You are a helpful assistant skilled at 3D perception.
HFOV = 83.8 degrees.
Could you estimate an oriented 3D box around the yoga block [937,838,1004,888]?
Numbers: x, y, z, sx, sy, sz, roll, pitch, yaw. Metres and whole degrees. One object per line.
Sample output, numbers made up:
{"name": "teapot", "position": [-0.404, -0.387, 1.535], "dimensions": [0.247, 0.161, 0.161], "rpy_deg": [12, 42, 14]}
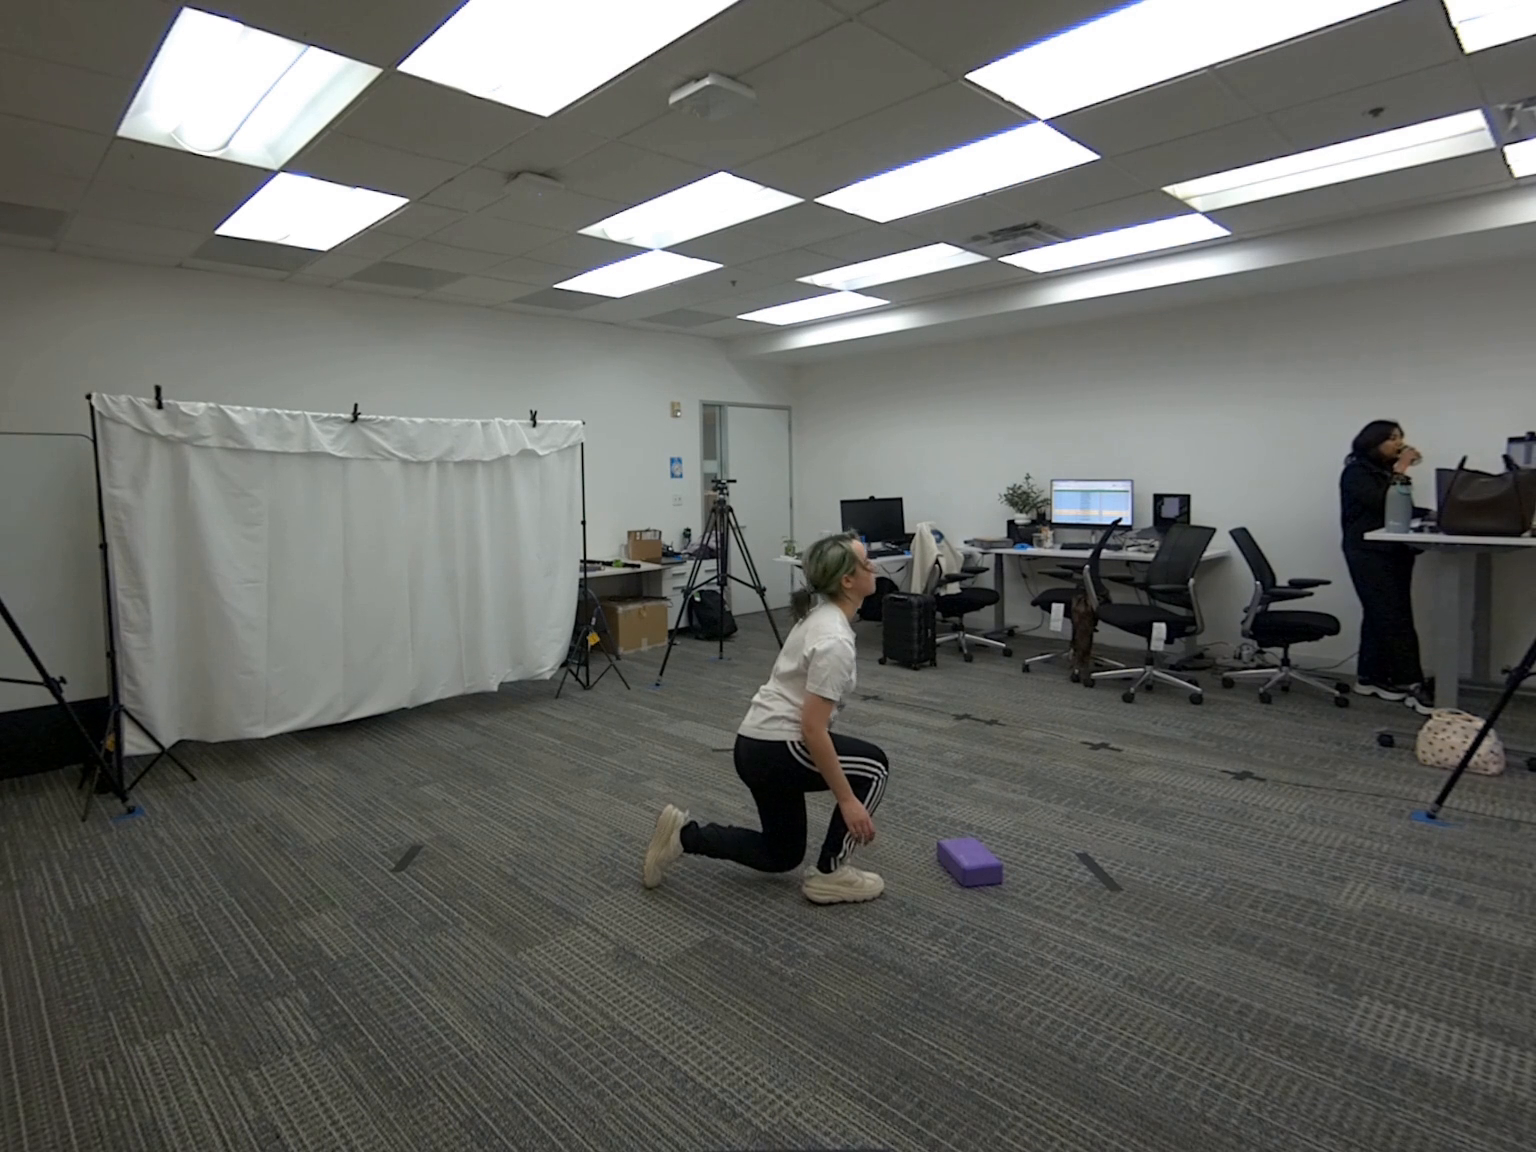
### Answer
{"name": "yoga block", "position": [0.711, 1.007, 3.012], "dimensions": [0.148, 0.076, 0.232], "rpy_deg": [-1, 5, -10]}
